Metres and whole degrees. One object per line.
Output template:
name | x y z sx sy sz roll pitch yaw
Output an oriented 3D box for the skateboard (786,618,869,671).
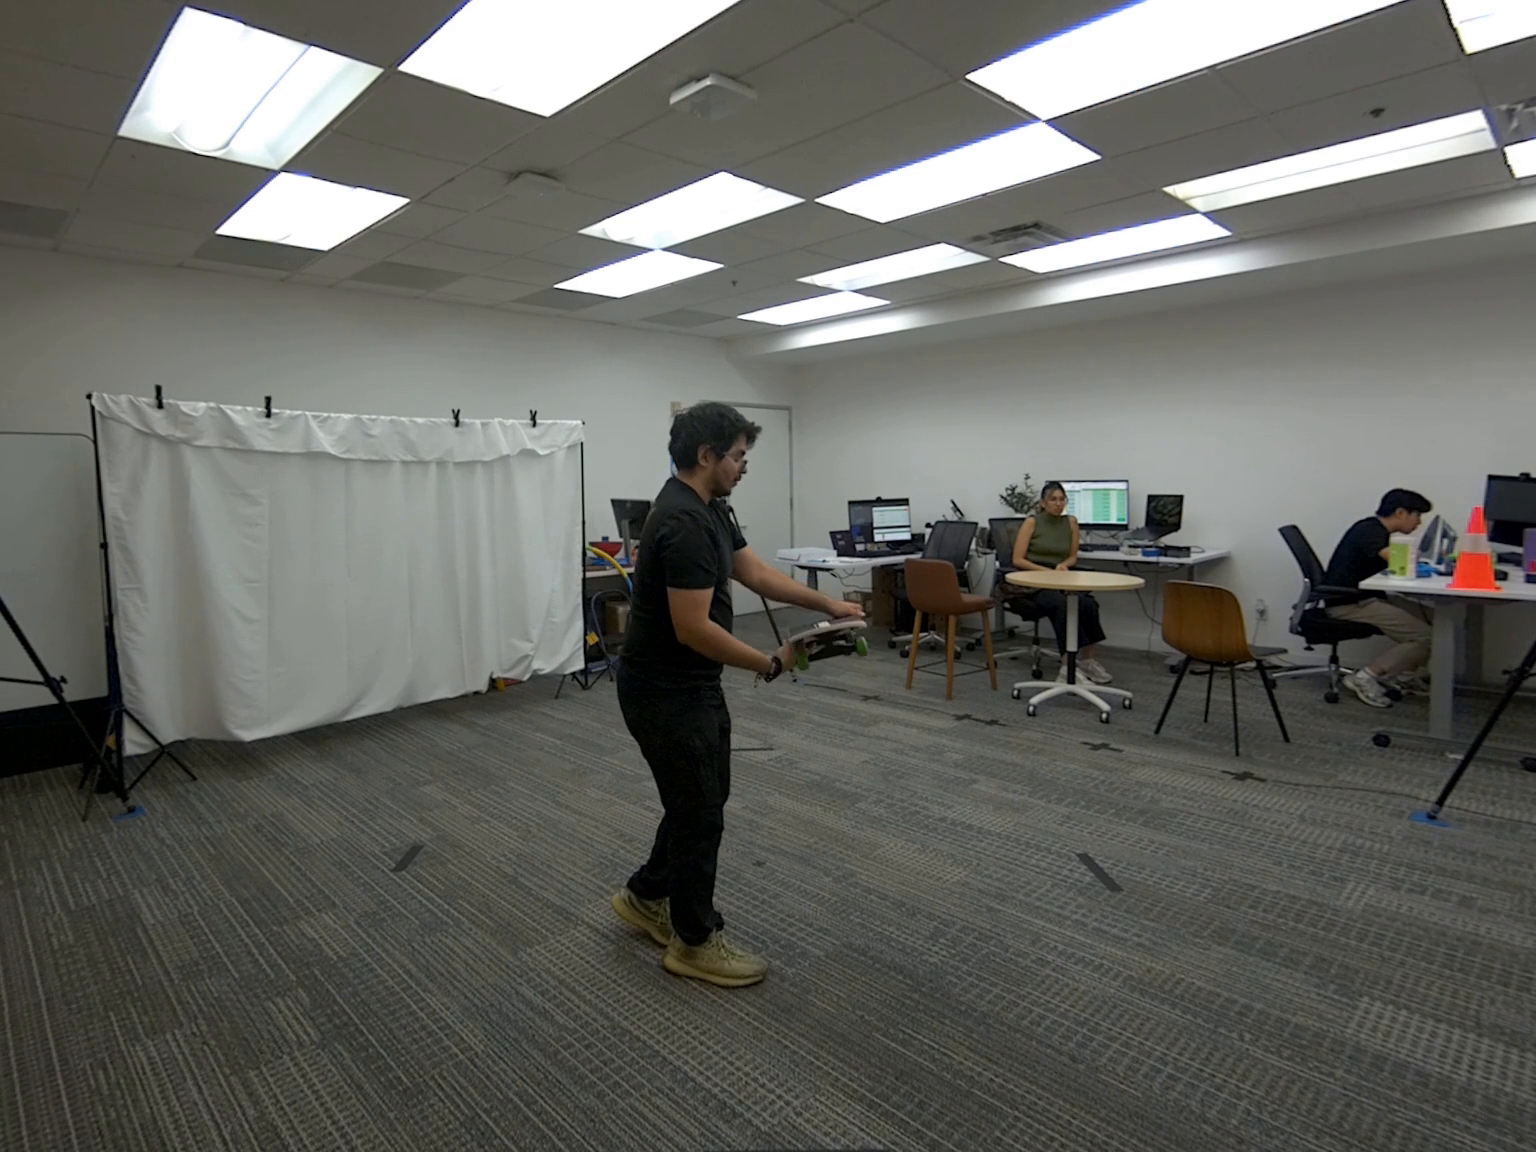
skateboard | 0.150 0.175 2.394 0.193 0.110 0.782 -13 -1 0
